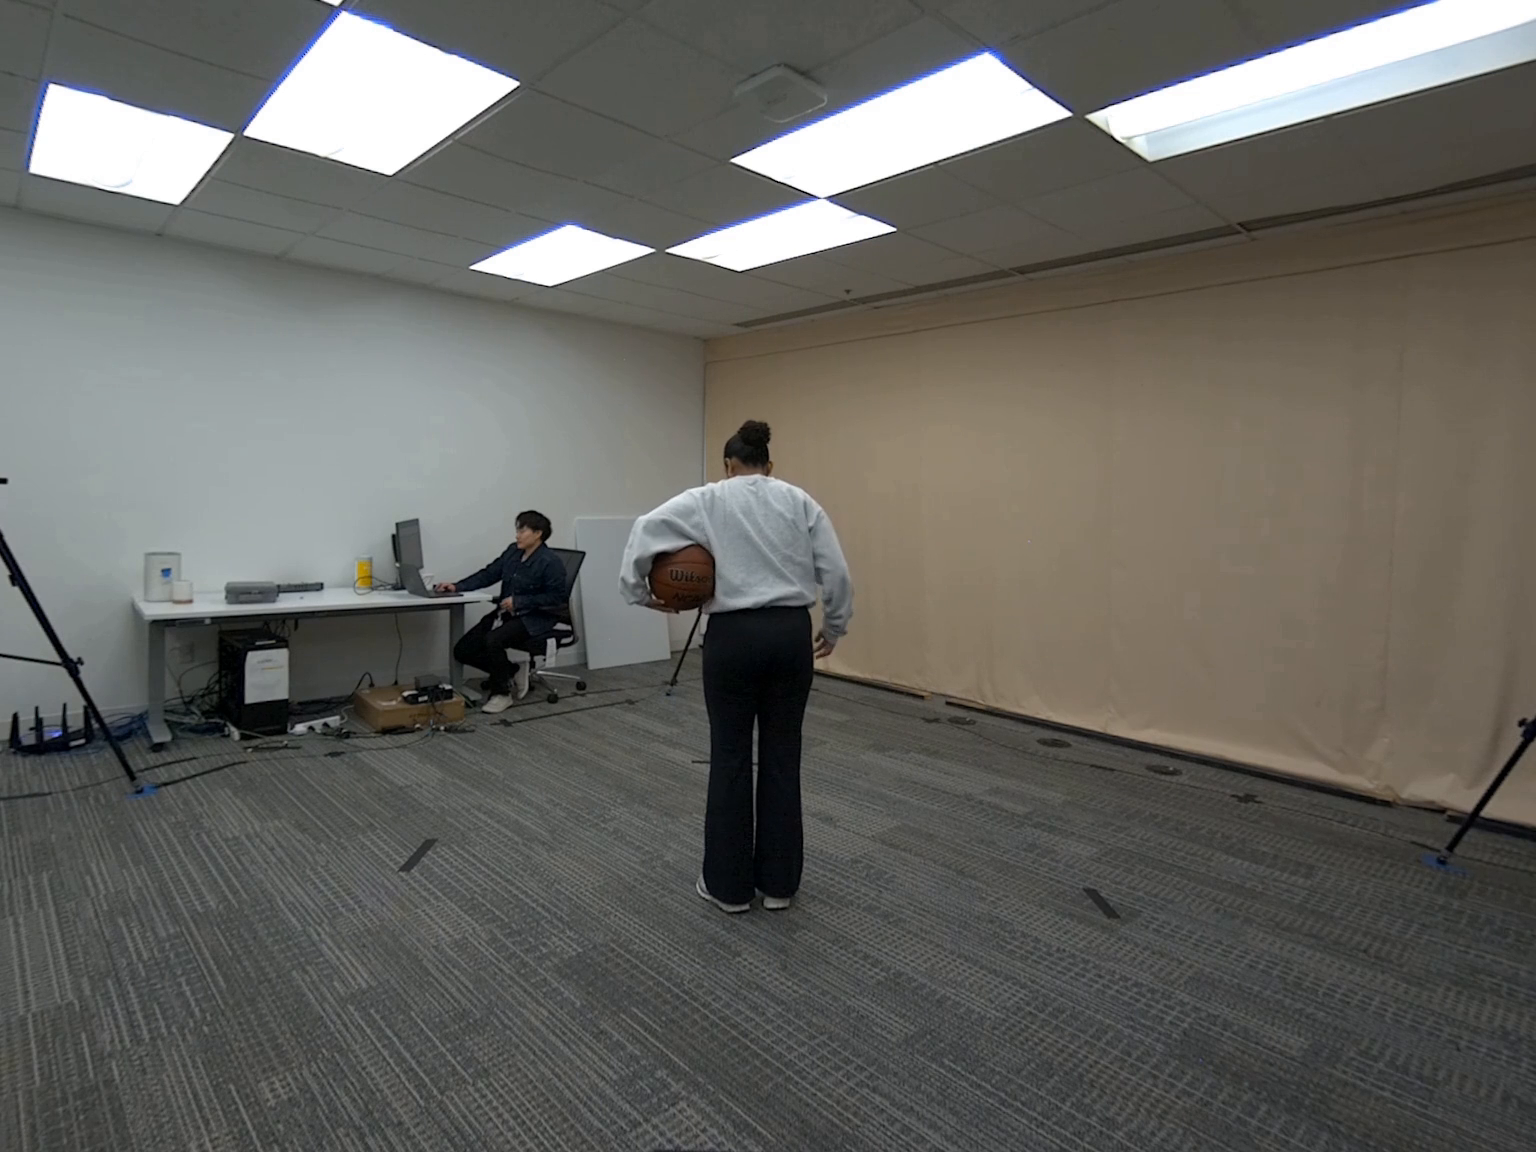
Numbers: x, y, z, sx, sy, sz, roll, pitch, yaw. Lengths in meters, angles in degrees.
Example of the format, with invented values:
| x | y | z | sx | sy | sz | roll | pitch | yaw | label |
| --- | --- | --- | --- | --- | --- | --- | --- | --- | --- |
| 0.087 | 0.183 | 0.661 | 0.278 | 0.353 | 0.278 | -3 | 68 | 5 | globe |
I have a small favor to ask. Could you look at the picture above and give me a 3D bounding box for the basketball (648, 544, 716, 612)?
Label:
| x | y | z | sx | sy | sz | roll | pitch | yaw | label |
| --- | --- | --- | --- | --- | --- | --- | --- | --- | --- |
| -0.291 | -0.001 | 2.831 | 0.236 | 0.235 | 0.237 | 1 | 4 | -1 | basketball |
